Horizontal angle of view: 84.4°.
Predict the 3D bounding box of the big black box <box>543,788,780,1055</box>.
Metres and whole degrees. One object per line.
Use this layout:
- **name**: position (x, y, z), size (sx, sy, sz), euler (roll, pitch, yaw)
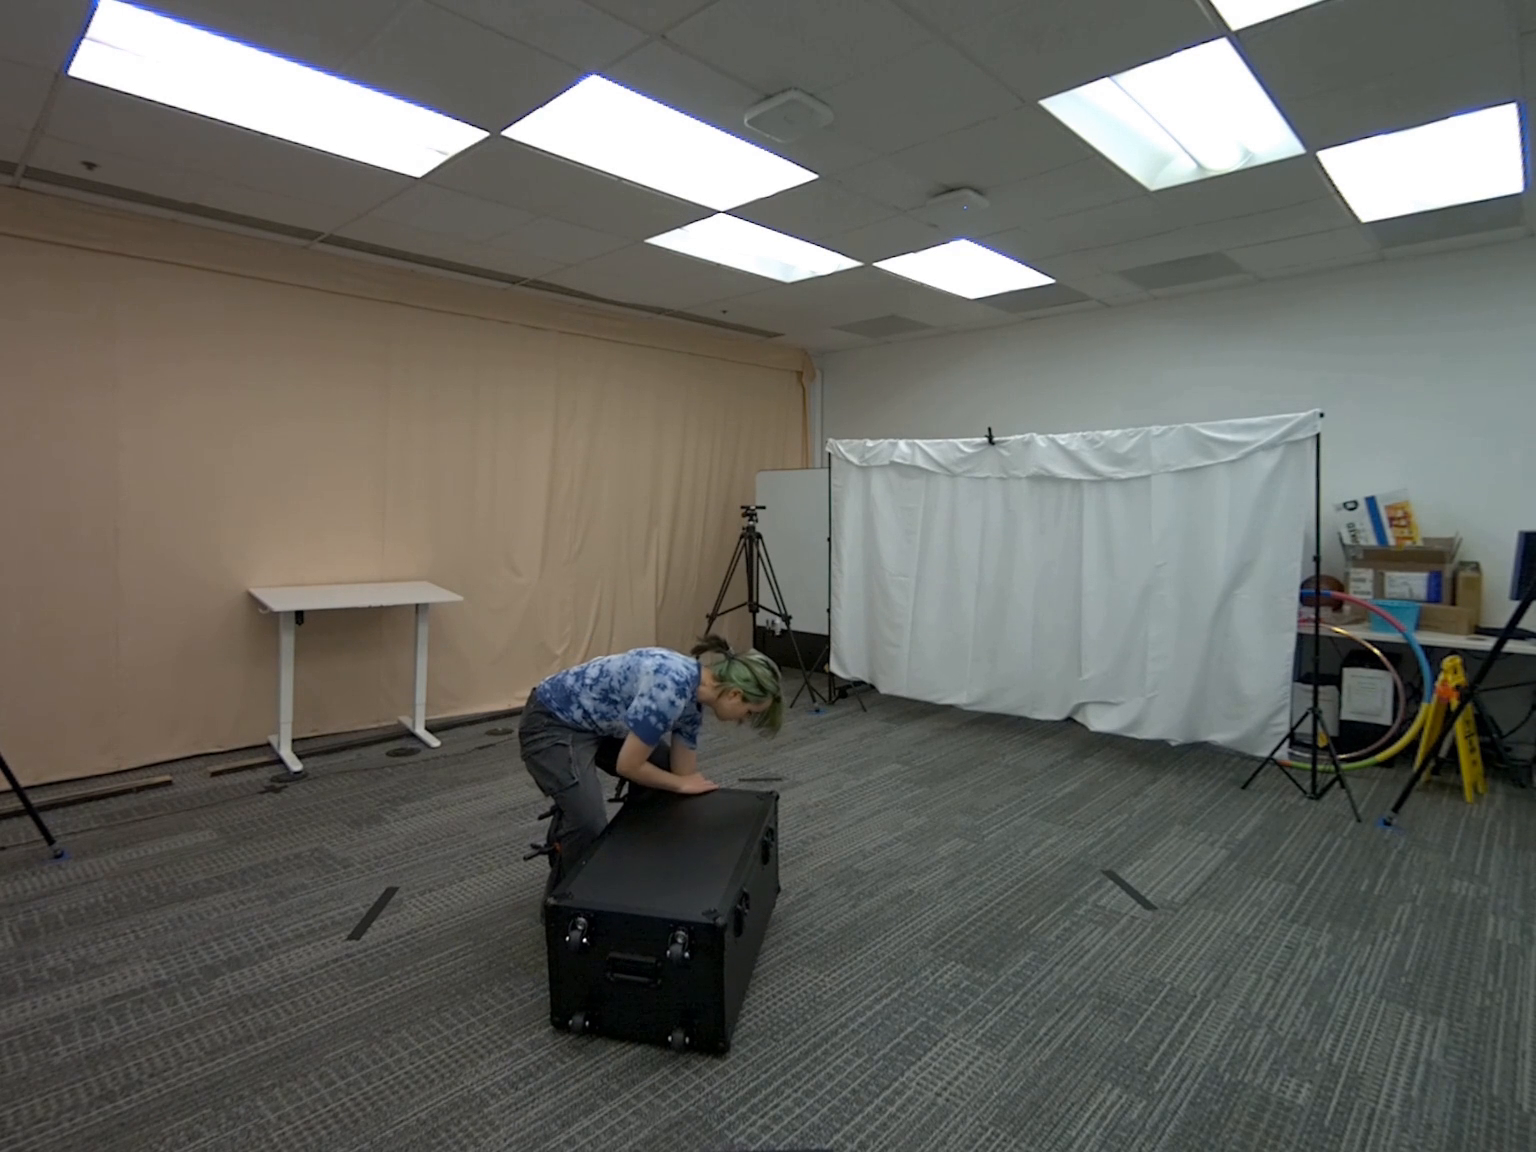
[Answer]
- **big black box**: position (-0.280, 0.968, 2.482), size (0.529, 0.394, 0.852), euler (1, 8, 13)
